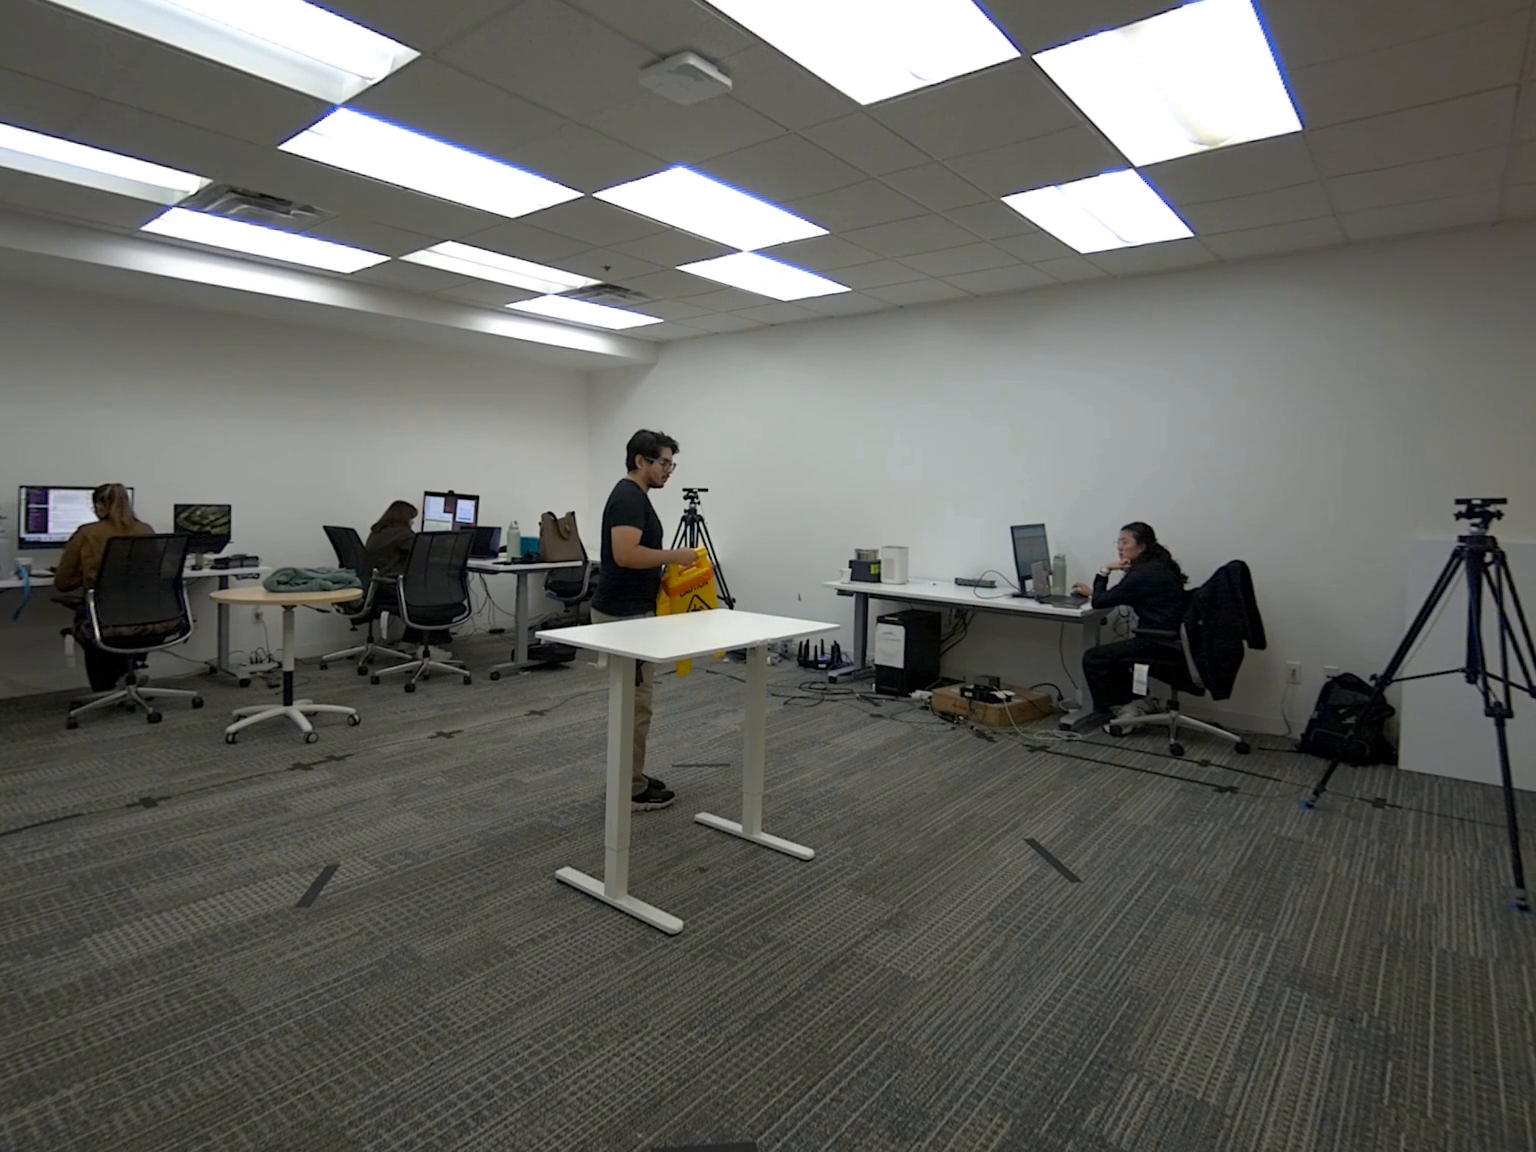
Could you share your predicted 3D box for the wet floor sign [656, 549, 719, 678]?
[{"bbox_3d":[-0.385,0.125,3.942,0.279,0.628,0.301,-24,53,-24],"label":"wet floor sign"}]
